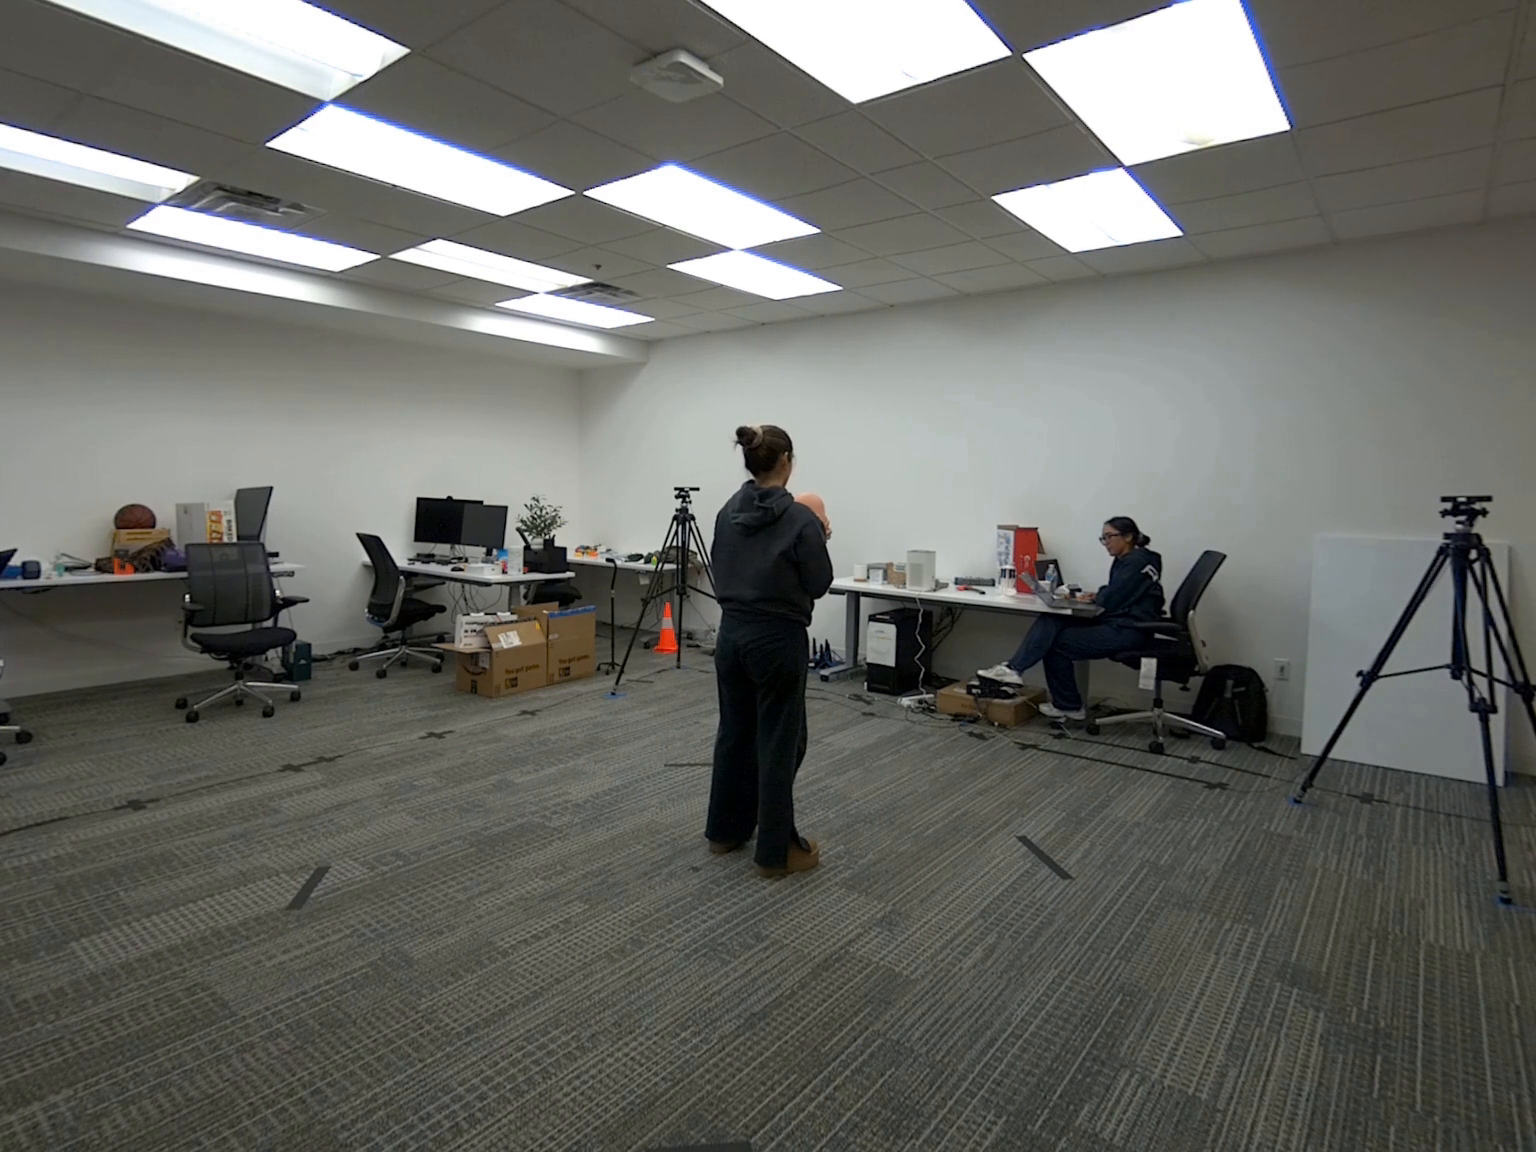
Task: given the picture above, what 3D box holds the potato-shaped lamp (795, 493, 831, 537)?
[{"bbox_3d":[0.141,-0.227,3.292,0.170,0.200,0.165,-1,-11,41],"label":"potato-shaped lamp"}]
